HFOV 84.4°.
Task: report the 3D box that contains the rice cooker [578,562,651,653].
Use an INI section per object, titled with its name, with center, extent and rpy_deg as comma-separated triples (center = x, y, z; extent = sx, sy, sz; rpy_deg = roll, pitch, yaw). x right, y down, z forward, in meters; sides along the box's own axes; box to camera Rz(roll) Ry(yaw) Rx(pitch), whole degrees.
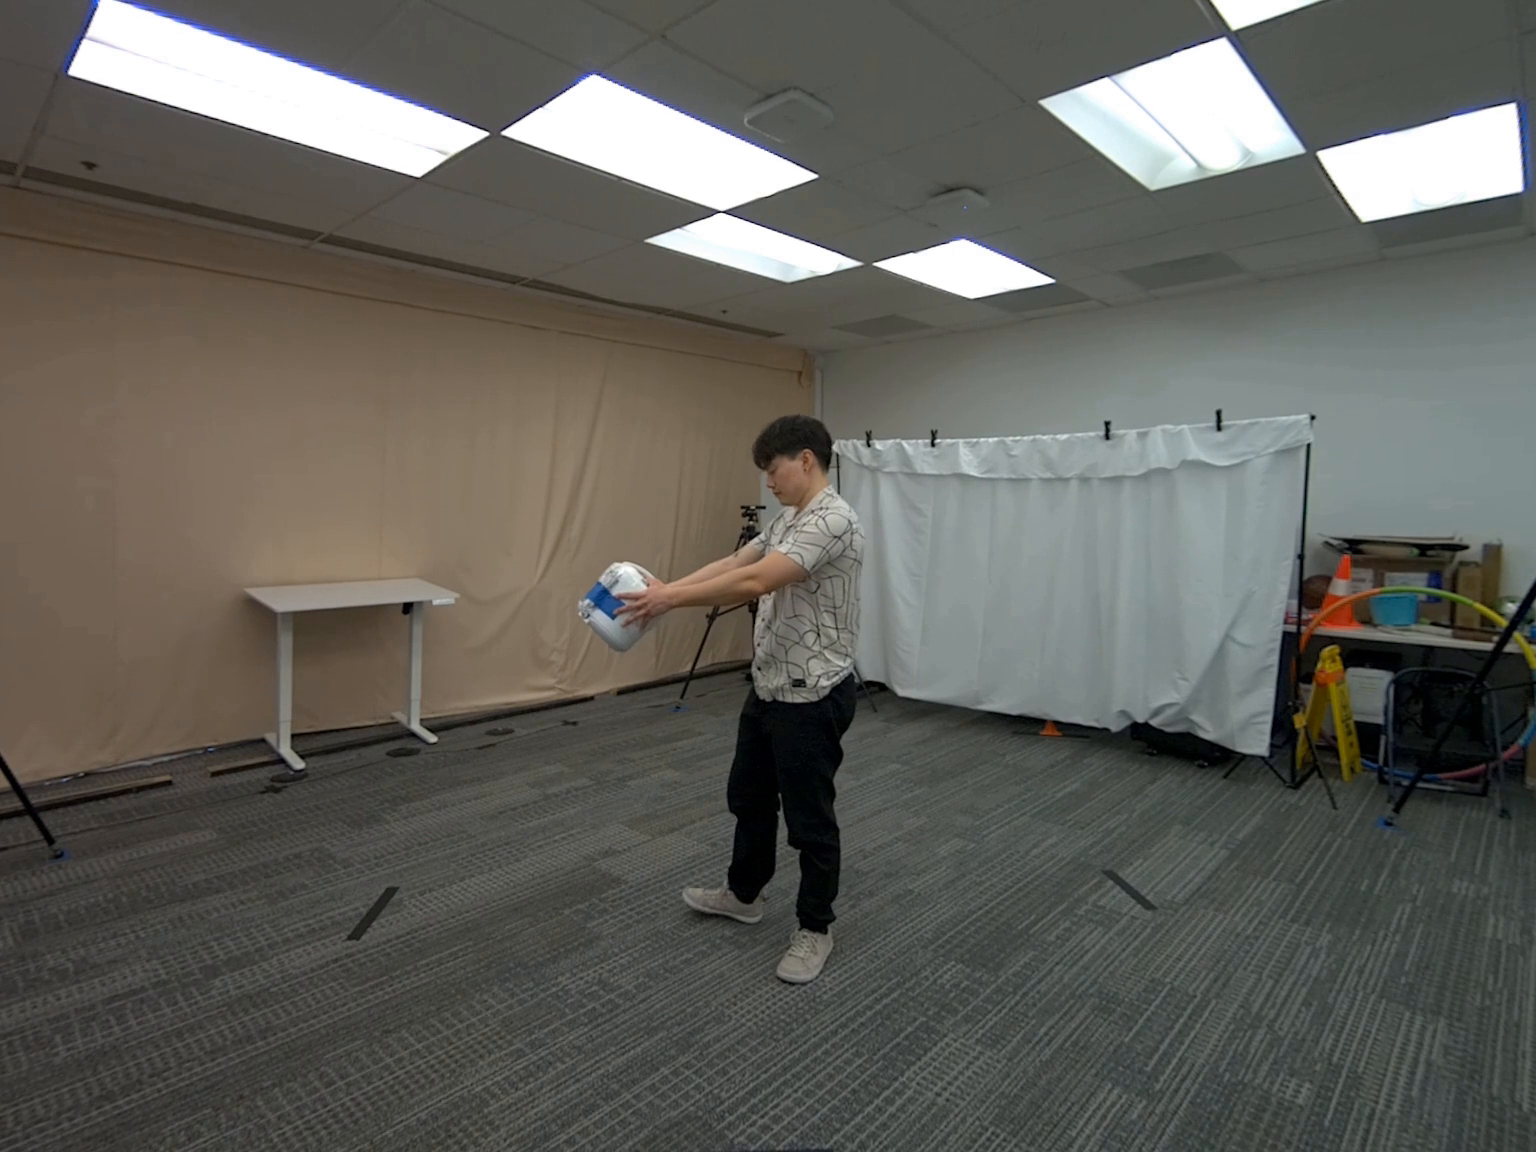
[rice cooker]
center = -0.418, 0.089, 2.491
extent = 0.232, 0.218, 0.220
rpy_deg = -44, 9, -6
